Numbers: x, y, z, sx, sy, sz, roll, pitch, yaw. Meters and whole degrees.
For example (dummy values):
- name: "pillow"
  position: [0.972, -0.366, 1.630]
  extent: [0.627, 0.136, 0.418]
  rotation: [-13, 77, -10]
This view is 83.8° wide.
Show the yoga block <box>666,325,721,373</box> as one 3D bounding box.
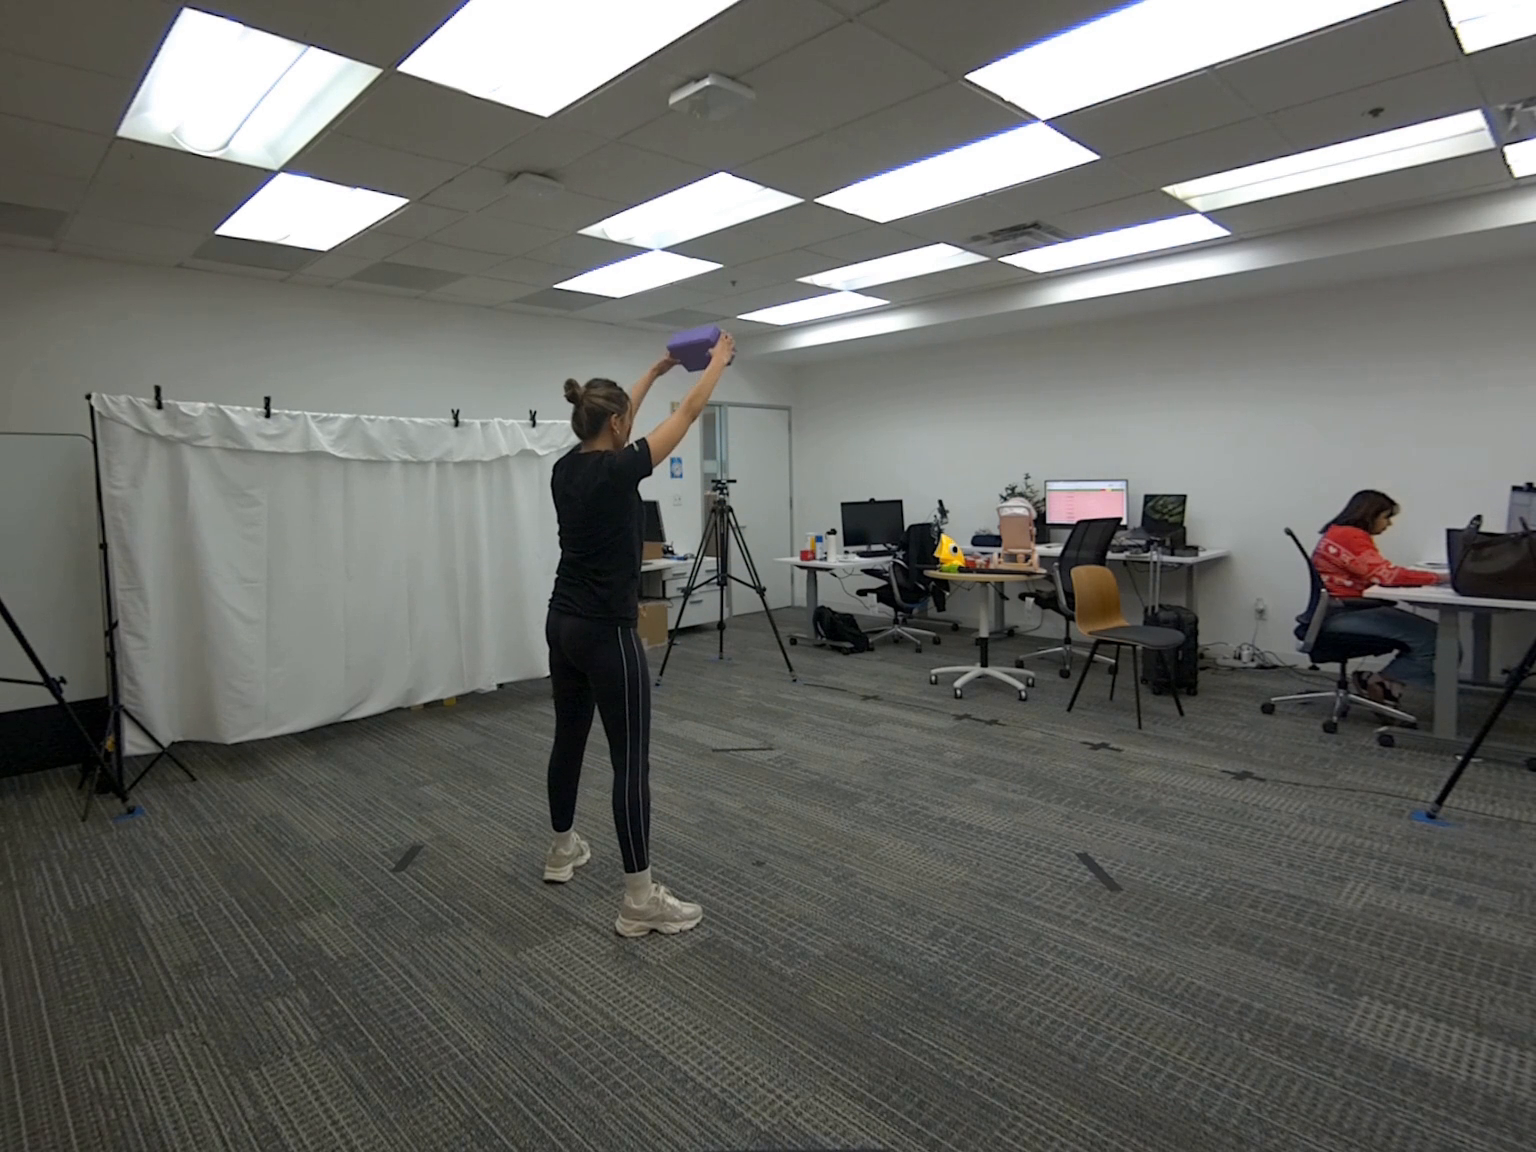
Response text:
- name: "yoga block"
  position: [-0.252, -0.824, 3.116]
  extent: [0.236, 0.077, 0.143]
  rotation: [3, -29, 45]
